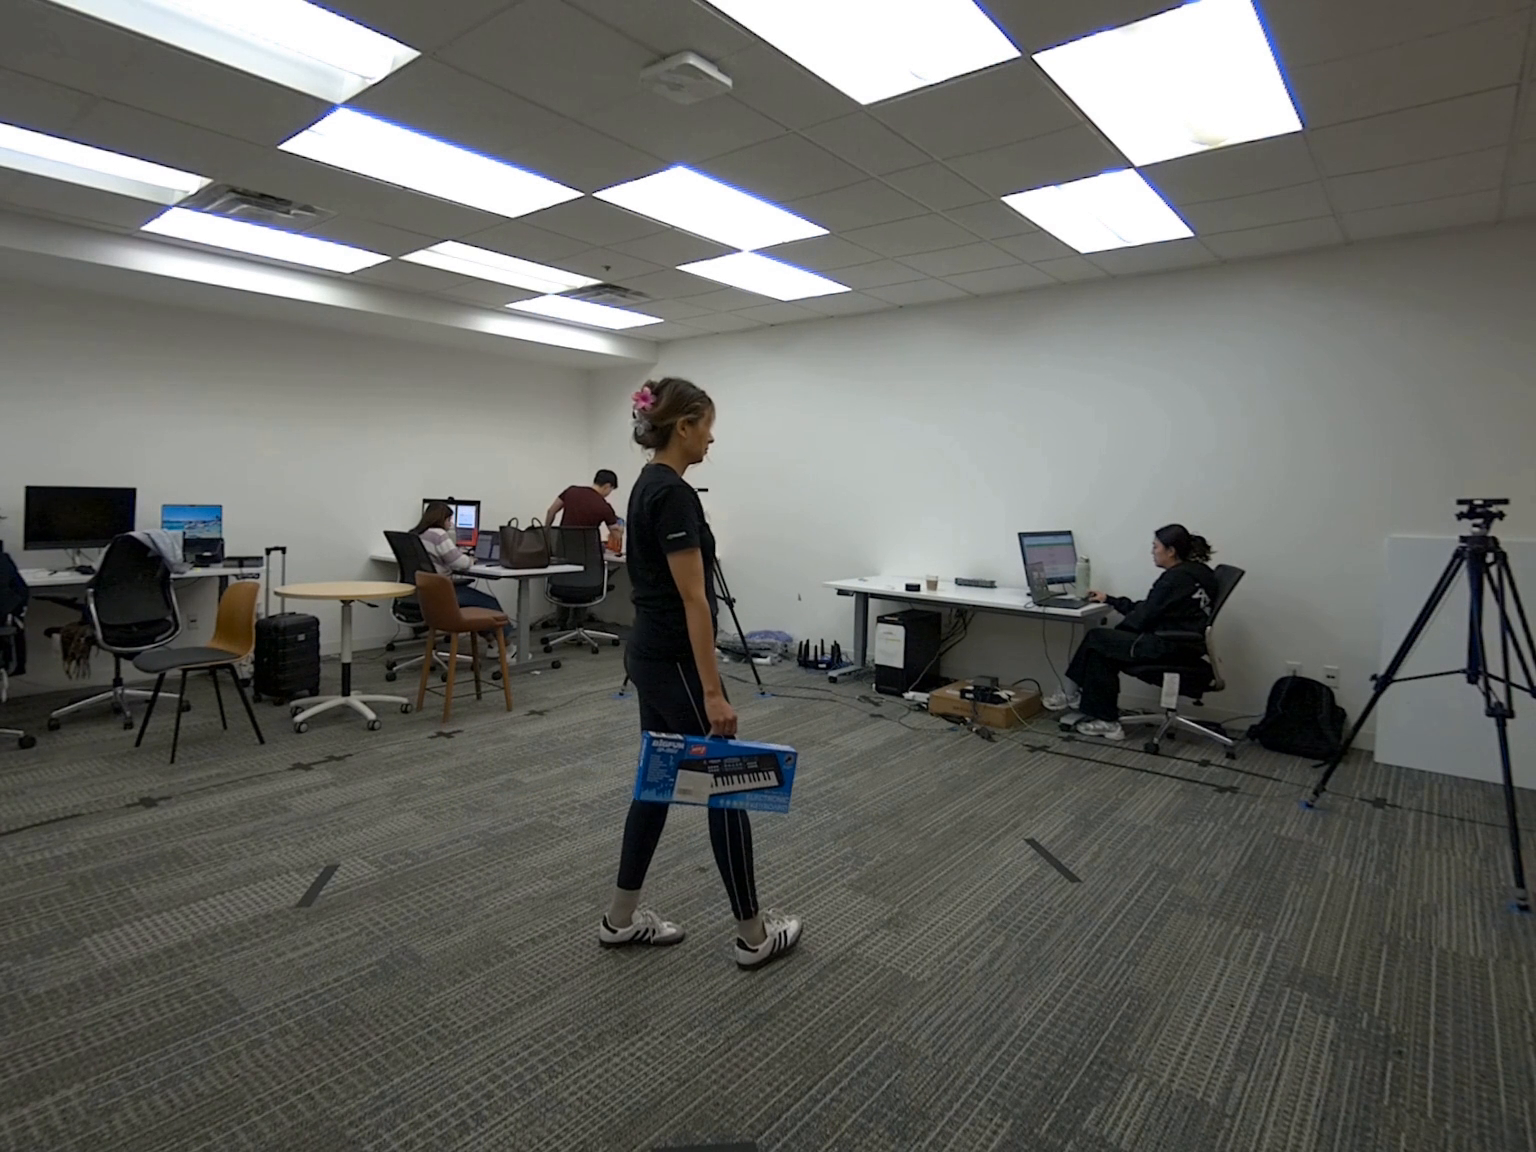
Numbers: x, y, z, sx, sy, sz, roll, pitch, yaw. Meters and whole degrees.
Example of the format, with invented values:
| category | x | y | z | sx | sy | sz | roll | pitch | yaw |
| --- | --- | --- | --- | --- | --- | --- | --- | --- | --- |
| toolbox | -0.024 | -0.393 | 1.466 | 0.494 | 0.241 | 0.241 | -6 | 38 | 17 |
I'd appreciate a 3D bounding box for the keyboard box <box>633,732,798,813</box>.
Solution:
| category | x | y | z | sx | sy | sz | roll | pitch | yaw |
| --- | --- | --- | --- | --- | --- | --- | --- | --- | --- |
| keyboard box | -0.145 | 0.530 | 2.307 | 0.427 | 0.176 | 0.060 | 10 | -2 | -20 |
